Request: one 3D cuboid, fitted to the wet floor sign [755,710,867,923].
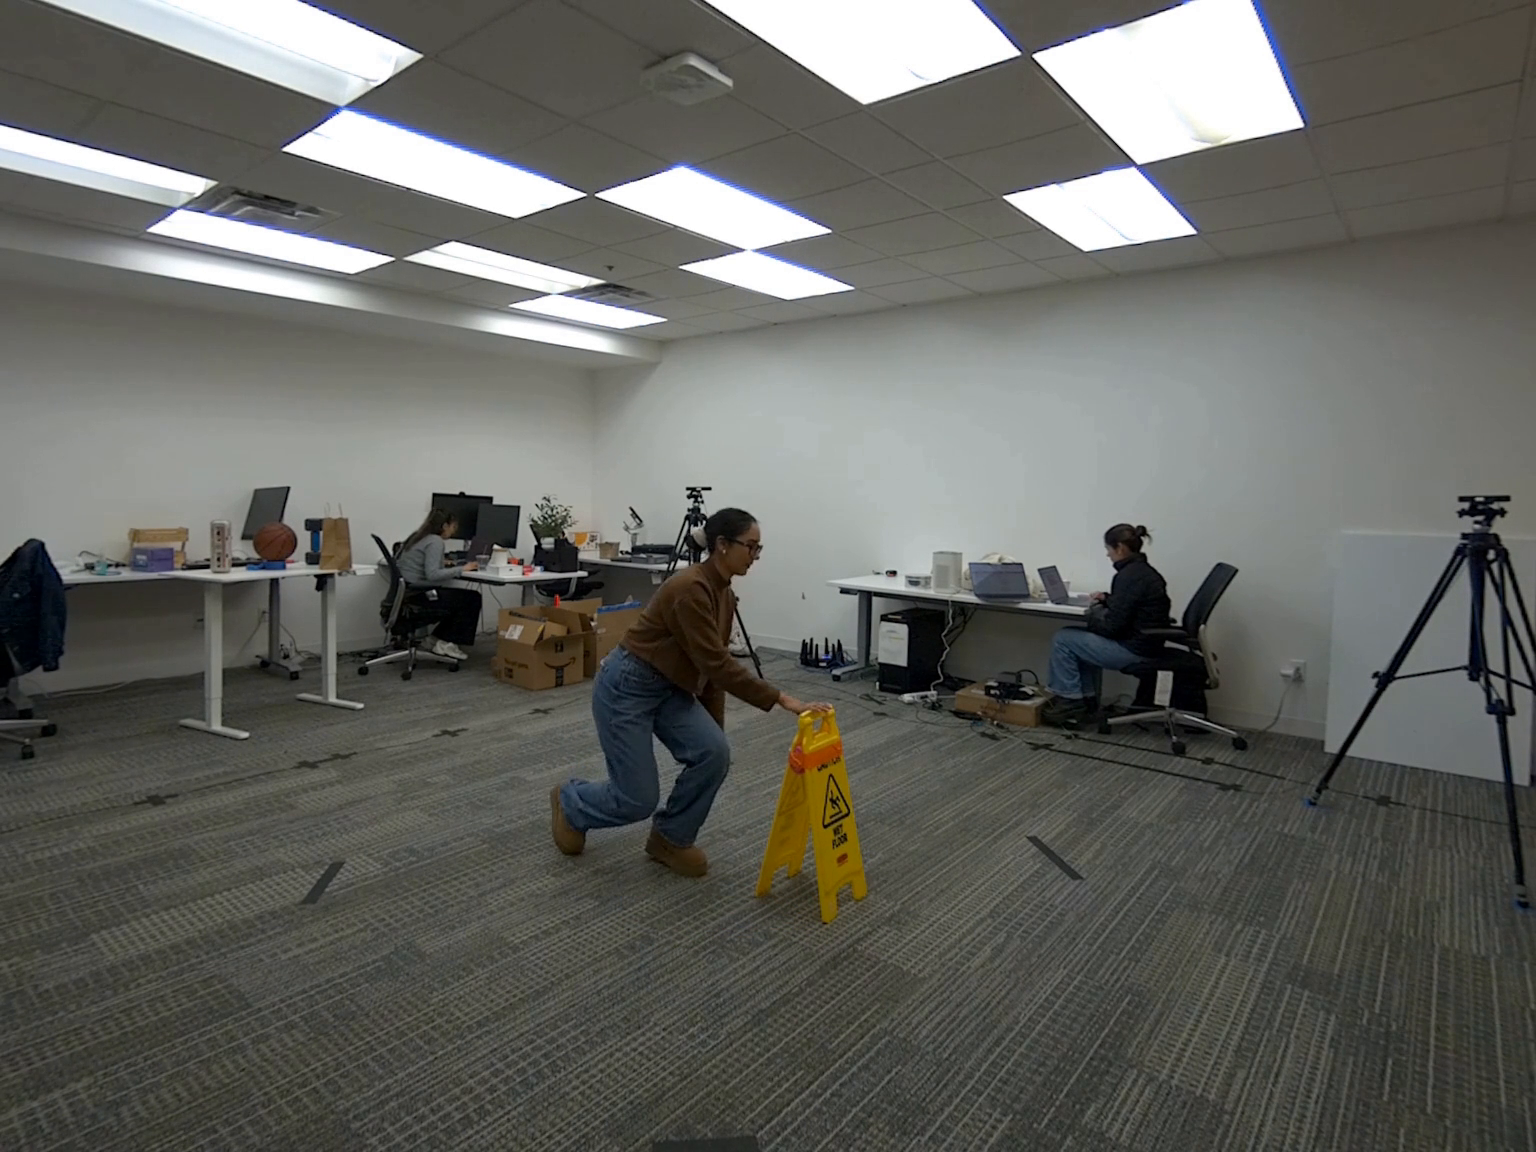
[{"bbox_3d":[0.147,0.768,2.899,0.299,0.645,0.274,3,3,36],"label":"wet floor sign"}]
